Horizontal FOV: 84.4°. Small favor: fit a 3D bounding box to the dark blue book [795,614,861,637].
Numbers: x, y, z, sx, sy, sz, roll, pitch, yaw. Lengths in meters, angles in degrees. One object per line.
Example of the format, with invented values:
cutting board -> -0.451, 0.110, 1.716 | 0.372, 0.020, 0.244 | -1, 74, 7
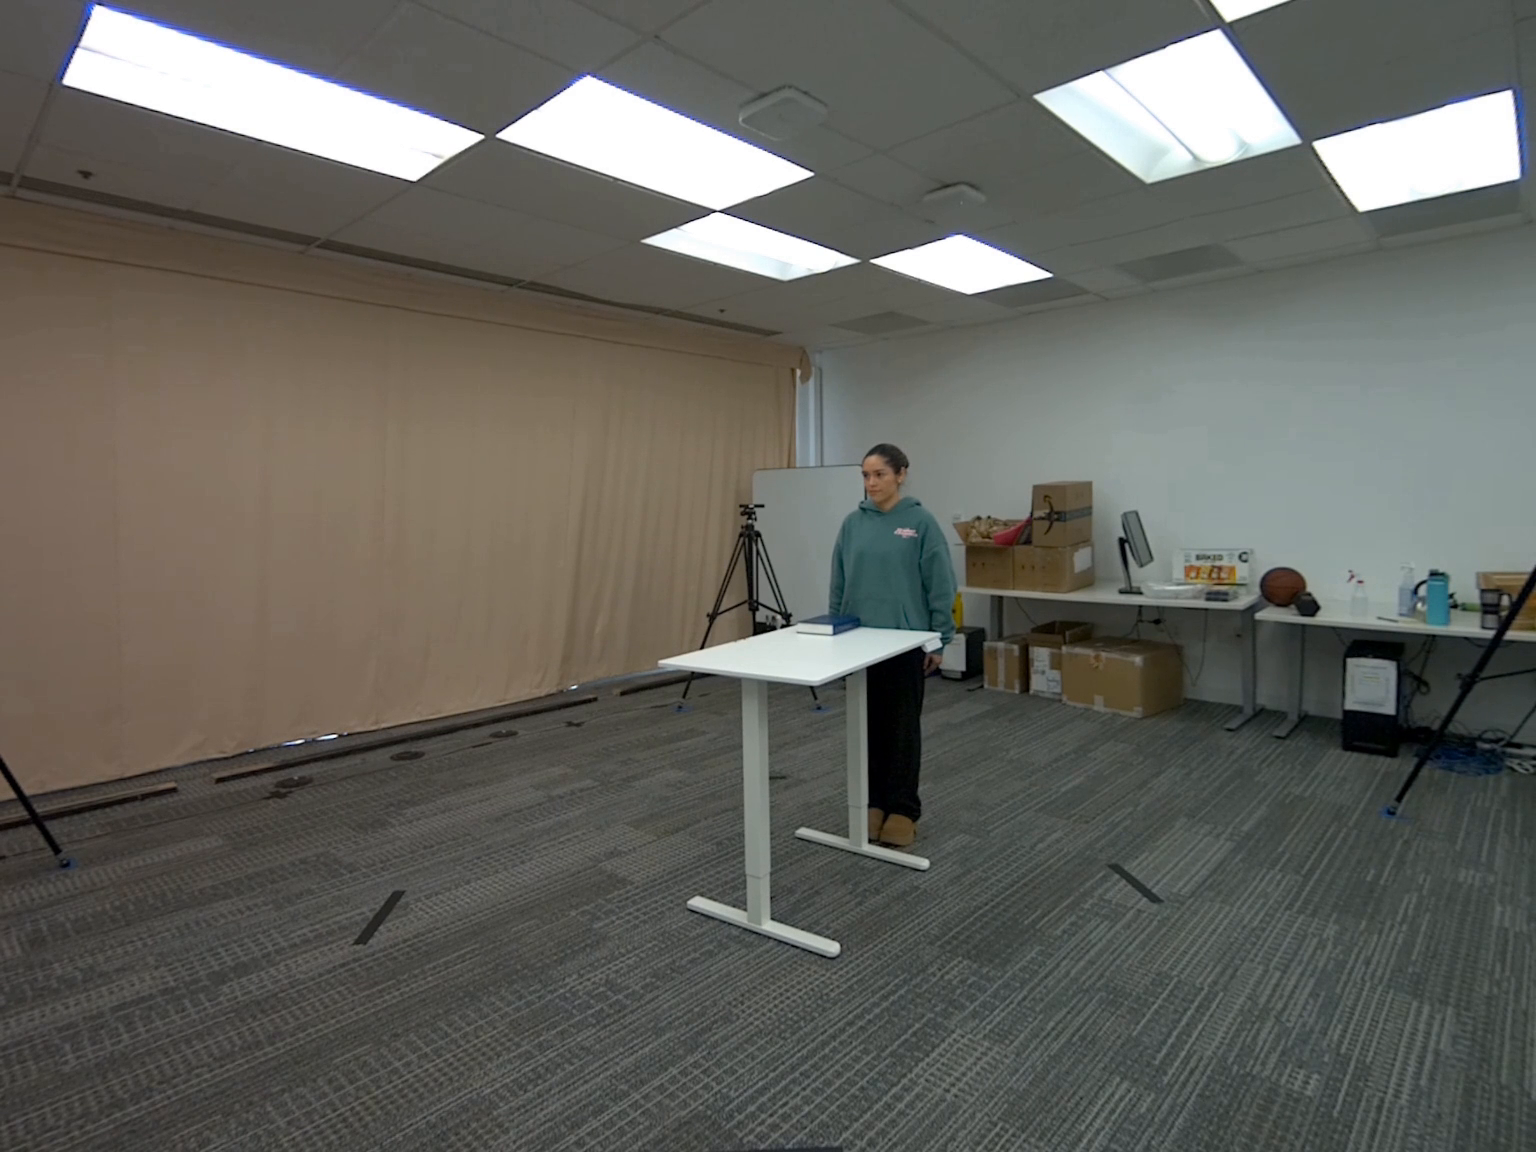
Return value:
dark blue book -> 0.246, 0.197, 3.379 | 0.168, 0.045, 0.239 | 2, 6, 29
